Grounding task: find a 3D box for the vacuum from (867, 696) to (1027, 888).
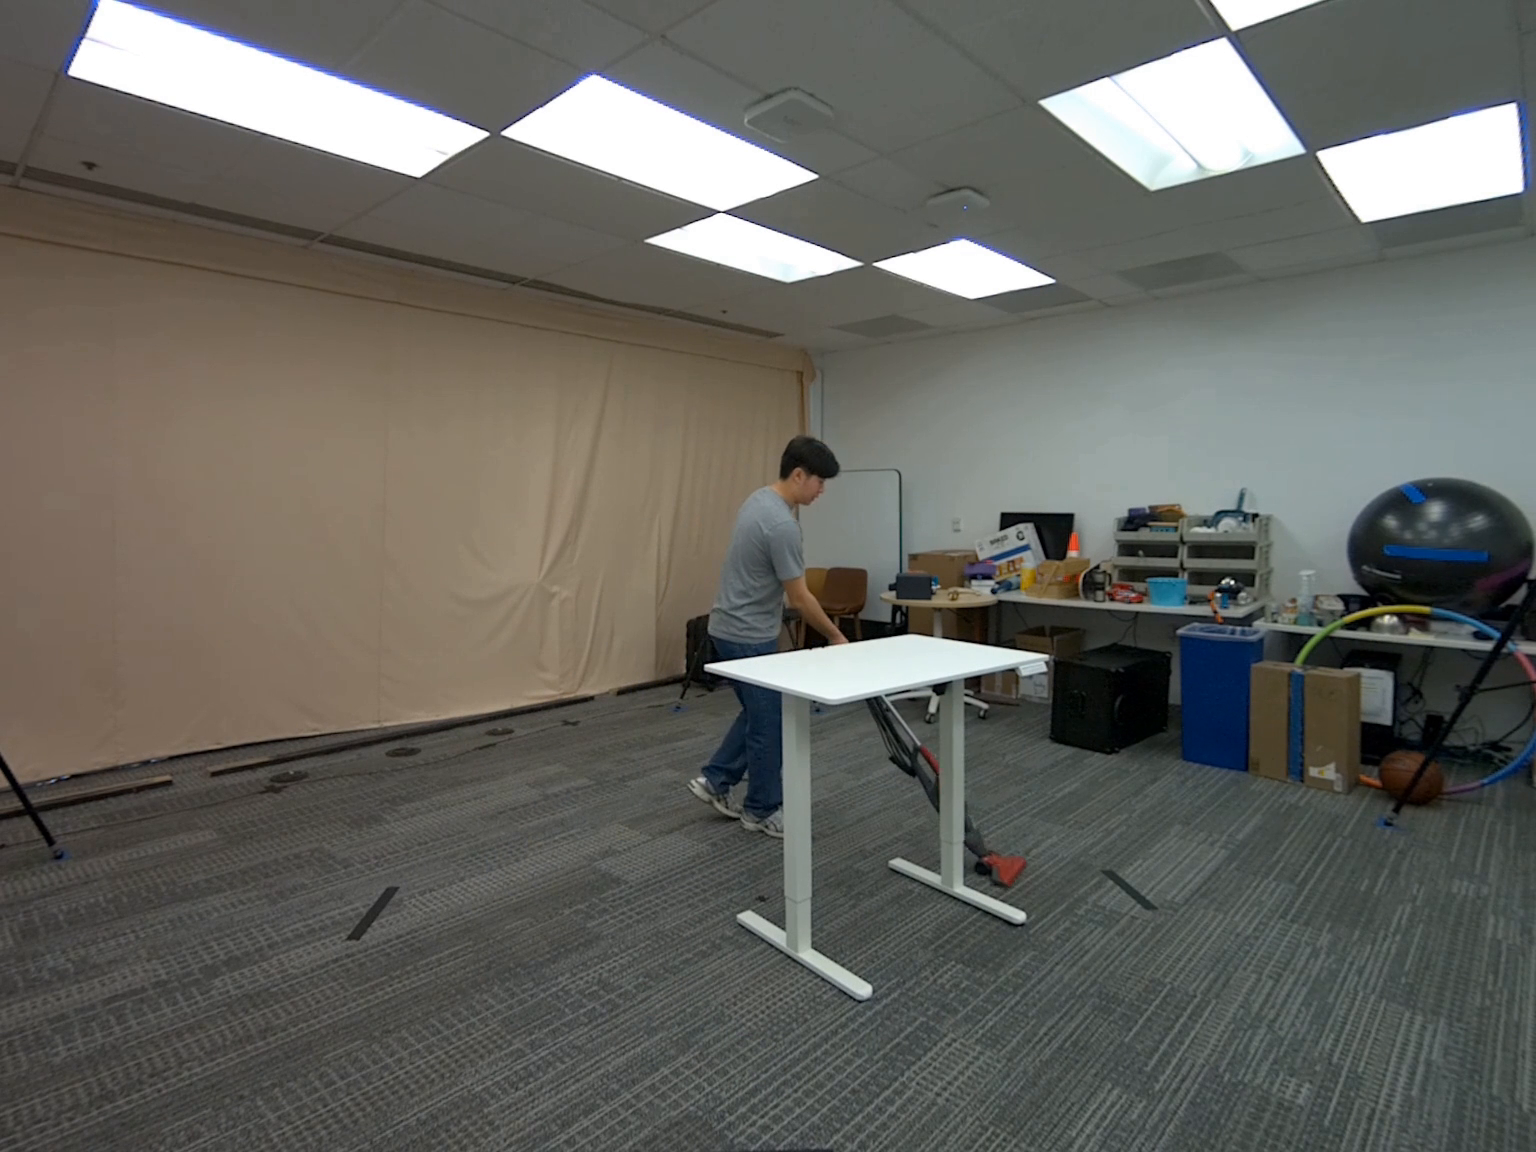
[{"bbox_3d":[0.596,0.719,3.374,0.145,1.073,0.245,-47,-22,26],"label":"vacuum"}]
